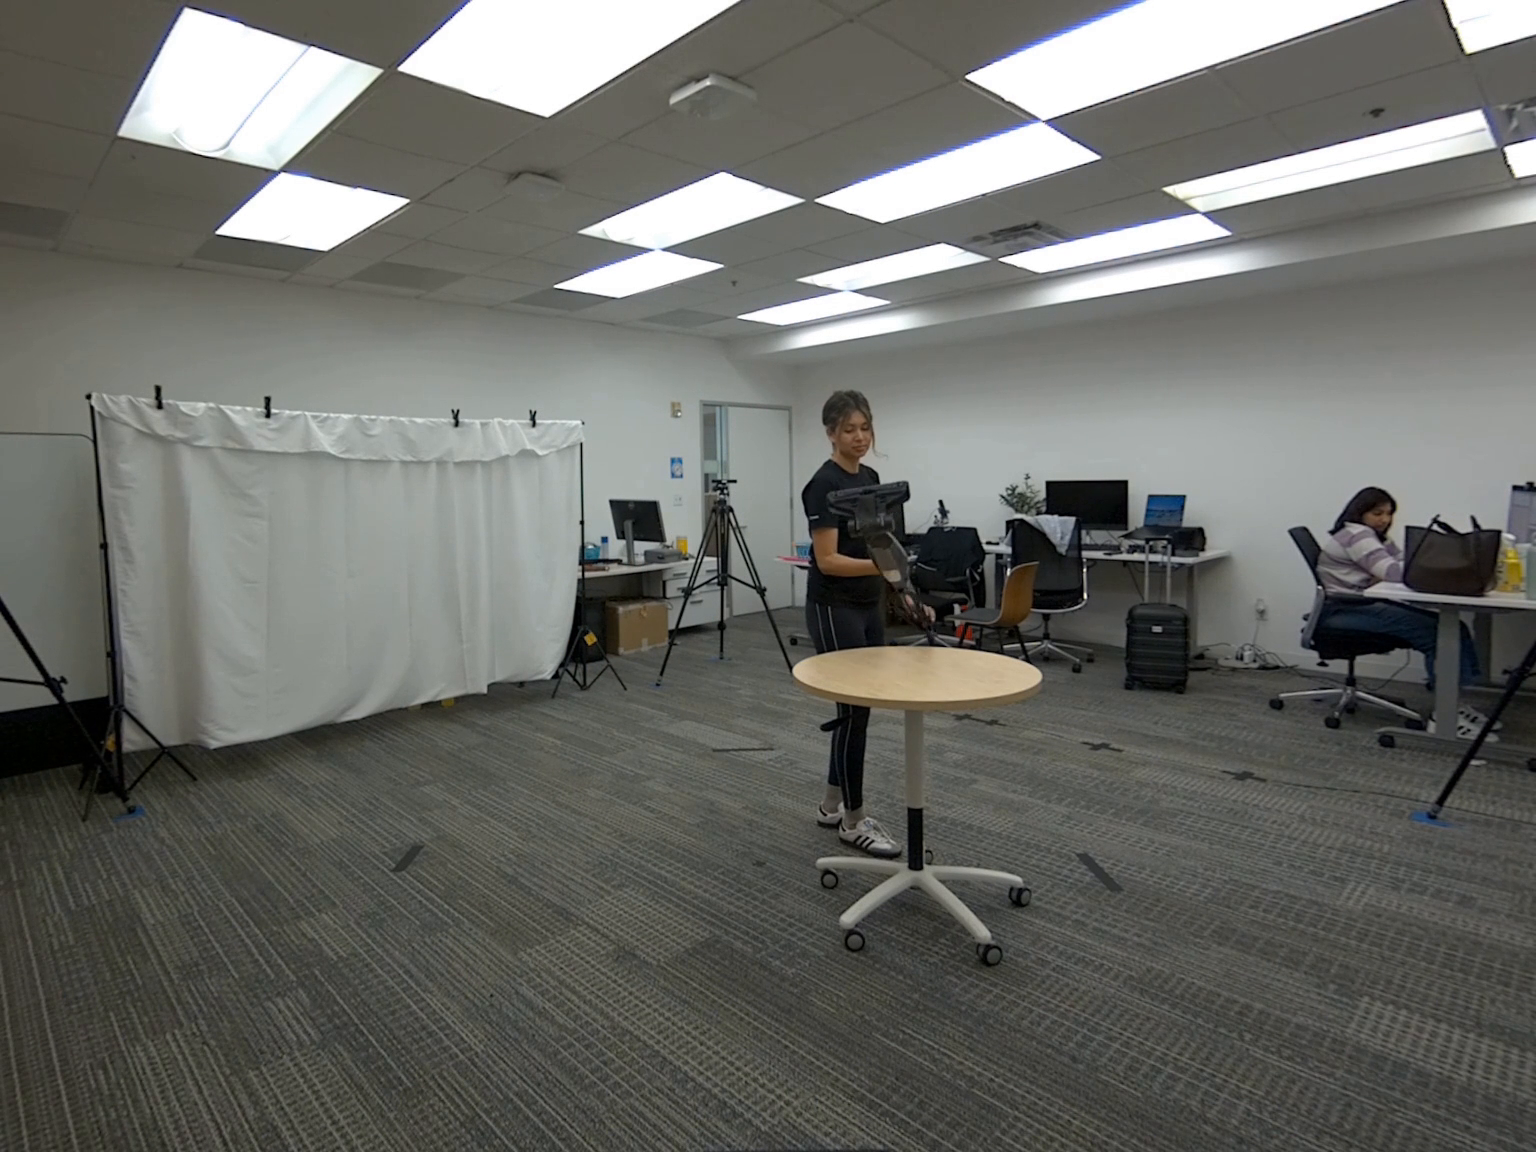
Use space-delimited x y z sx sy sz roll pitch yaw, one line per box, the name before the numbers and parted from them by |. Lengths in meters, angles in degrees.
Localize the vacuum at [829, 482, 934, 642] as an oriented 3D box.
vacuum | 0.472 0.056 2.973 0.257 0.147 1.010 -8 -34 20
